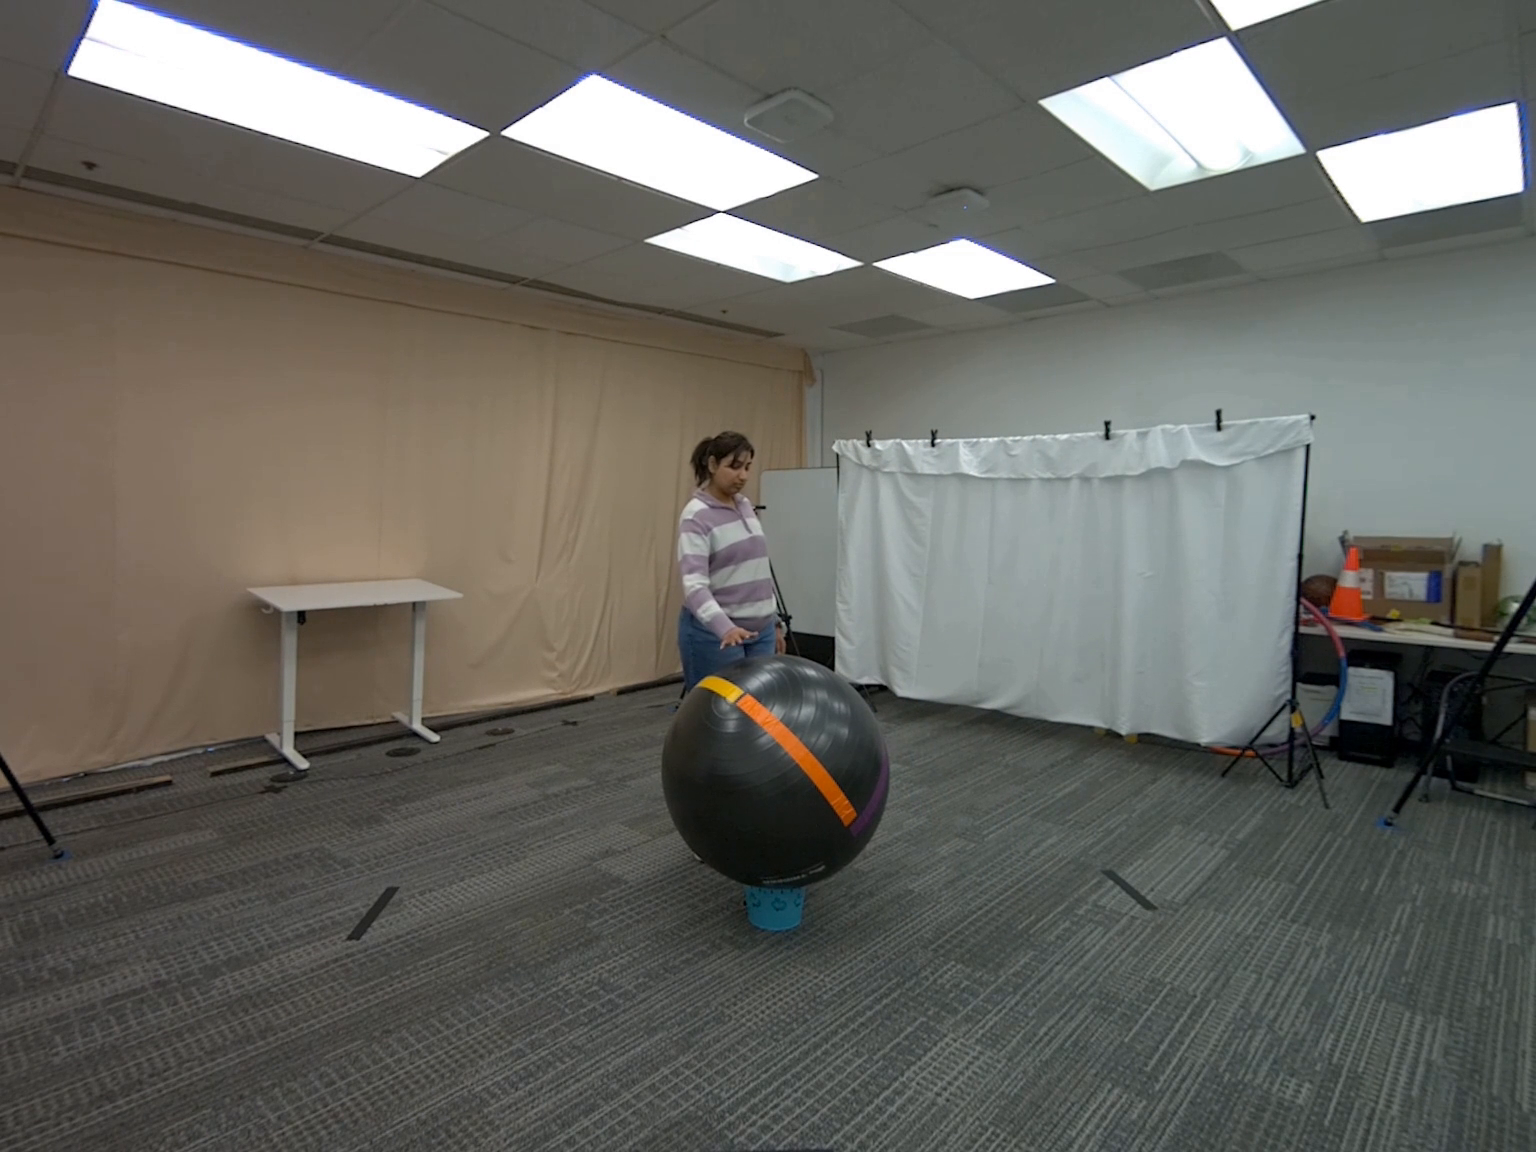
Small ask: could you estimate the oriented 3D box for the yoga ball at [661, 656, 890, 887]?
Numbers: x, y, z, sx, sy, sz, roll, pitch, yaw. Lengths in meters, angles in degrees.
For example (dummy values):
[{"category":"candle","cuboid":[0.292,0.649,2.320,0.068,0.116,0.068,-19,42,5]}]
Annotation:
[{"category":"yoga ball","cuboid":[0.029,0.645,2.824,0.757,0.756,0.760,0,4,-2]}]
